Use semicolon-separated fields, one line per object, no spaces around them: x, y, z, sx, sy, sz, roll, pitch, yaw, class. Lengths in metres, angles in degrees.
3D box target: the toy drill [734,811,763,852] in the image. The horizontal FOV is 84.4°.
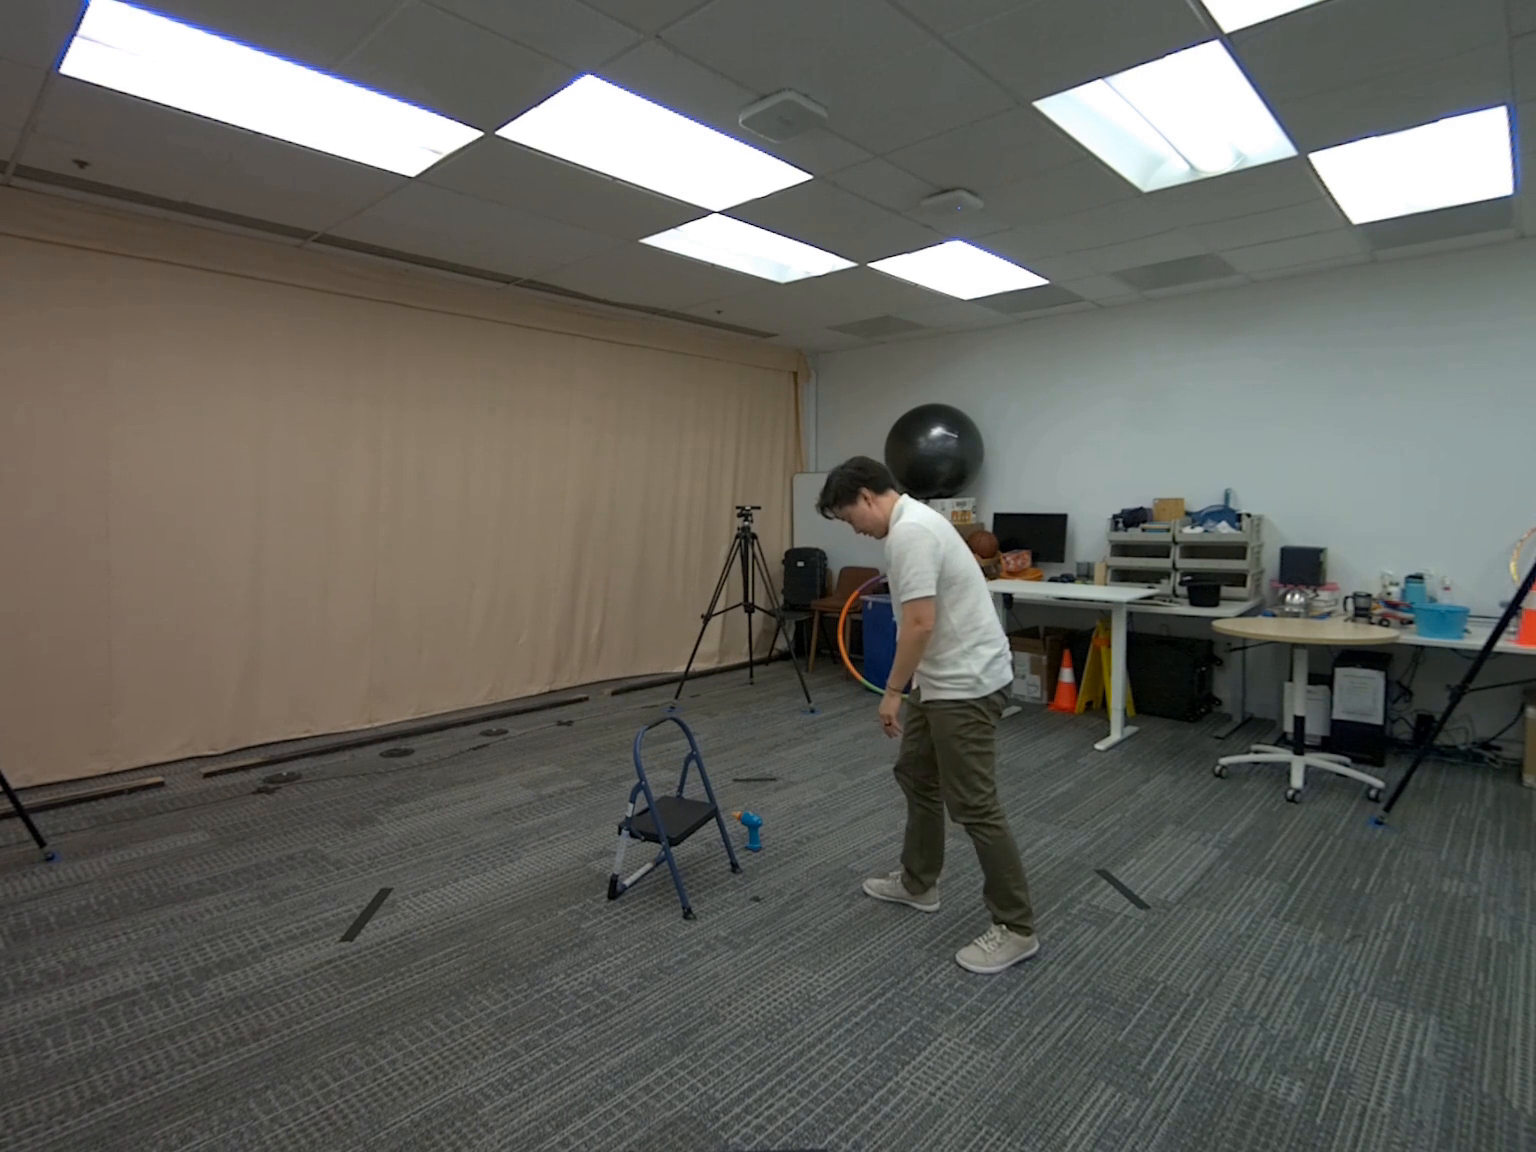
-0.083;1.033;3.439;0.059;0.146;0.175;-4;4;-44;toy drill
